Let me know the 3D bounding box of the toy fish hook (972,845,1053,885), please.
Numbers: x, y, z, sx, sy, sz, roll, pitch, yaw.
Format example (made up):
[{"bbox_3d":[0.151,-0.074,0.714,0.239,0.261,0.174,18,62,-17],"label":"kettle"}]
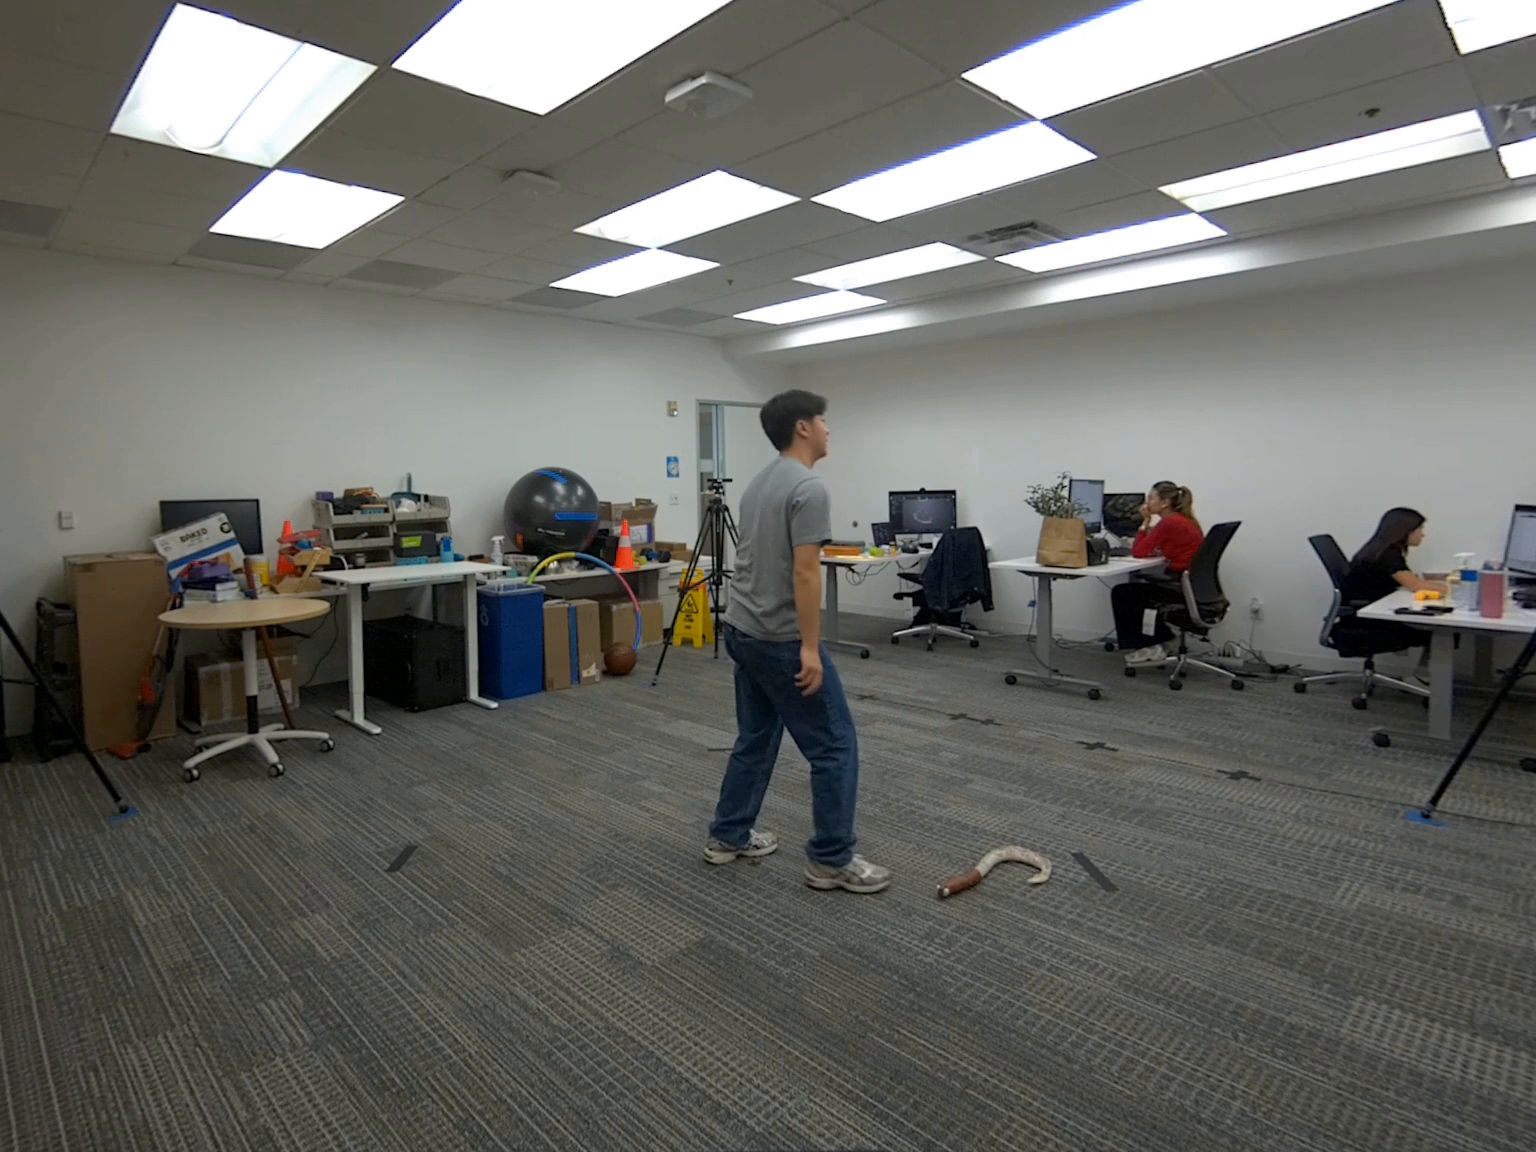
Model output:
[{"bbox_3d":[0.786,1.025,2.924,0.494,0.048,0.231,-7,8,-39],"label":"toy fish hook"}]
